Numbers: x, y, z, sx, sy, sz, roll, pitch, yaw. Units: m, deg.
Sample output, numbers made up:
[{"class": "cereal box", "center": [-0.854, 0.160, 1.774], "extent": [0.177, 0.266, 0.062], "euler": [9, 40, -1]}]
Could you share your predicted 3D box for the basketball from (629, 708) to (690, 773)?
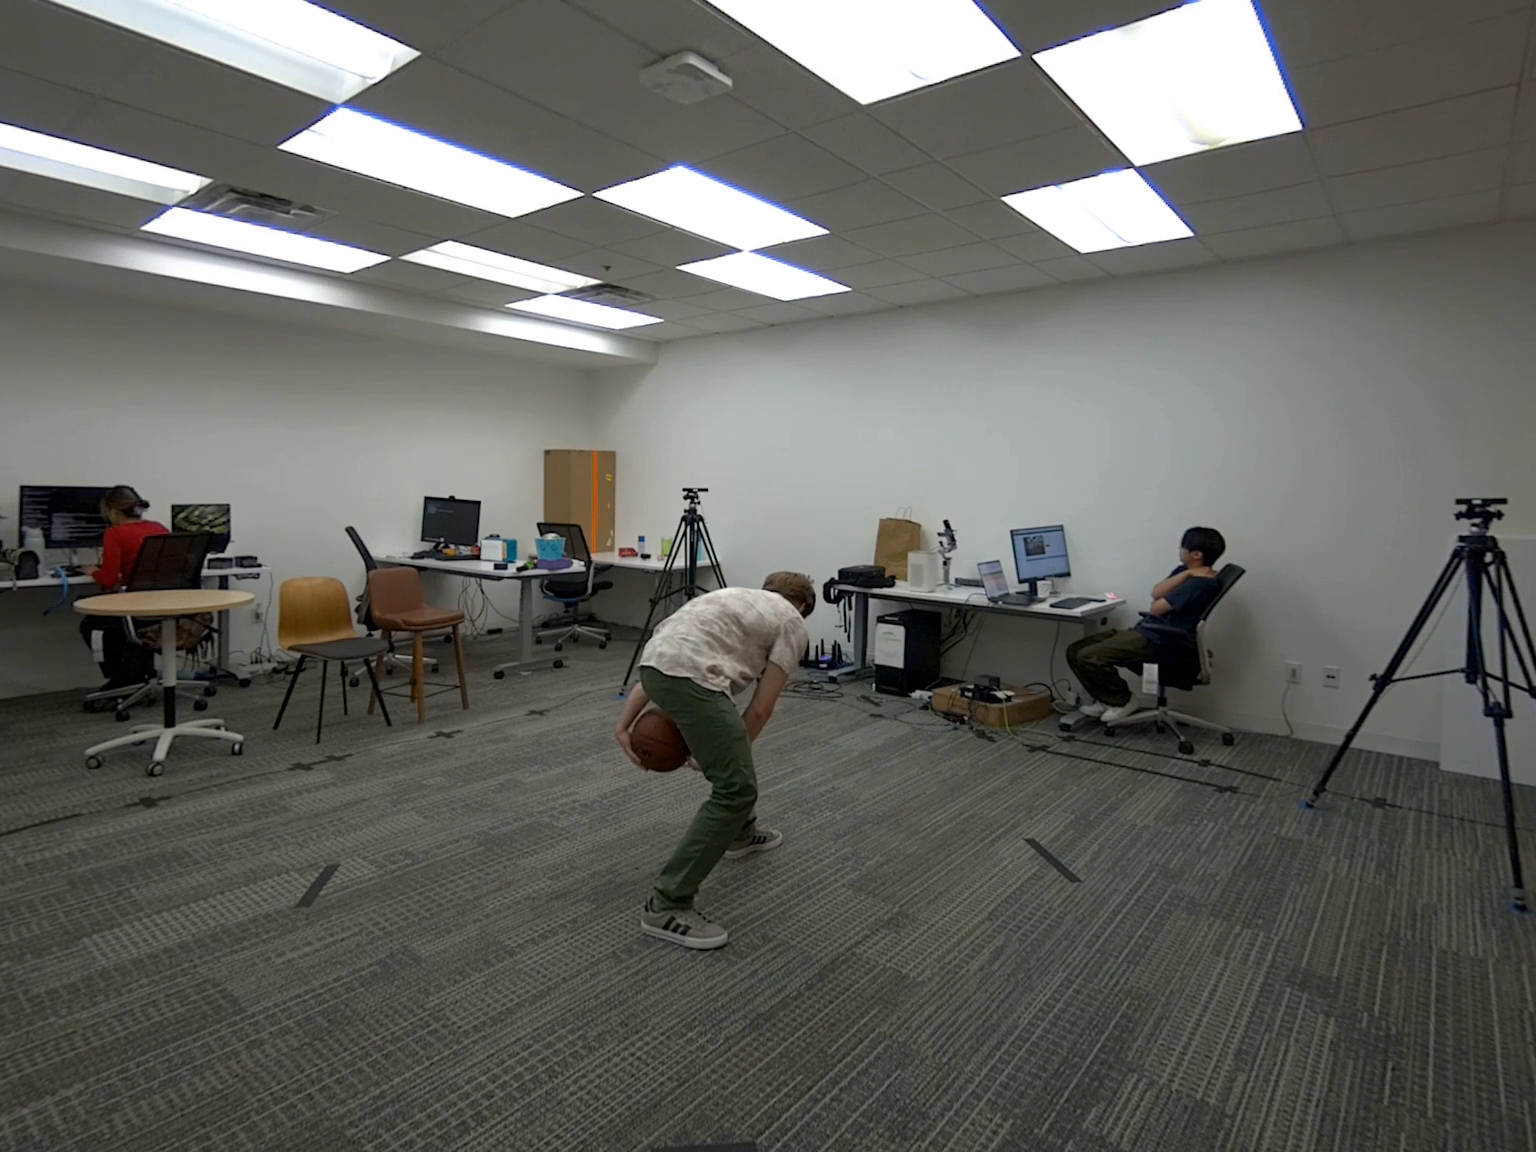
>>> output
[{"class": "basketball", "center": [-0.397, 0.601, 3.136], "extent": [0.235, 0.235, 0.237], "euler": [1, 4, -2]}]
